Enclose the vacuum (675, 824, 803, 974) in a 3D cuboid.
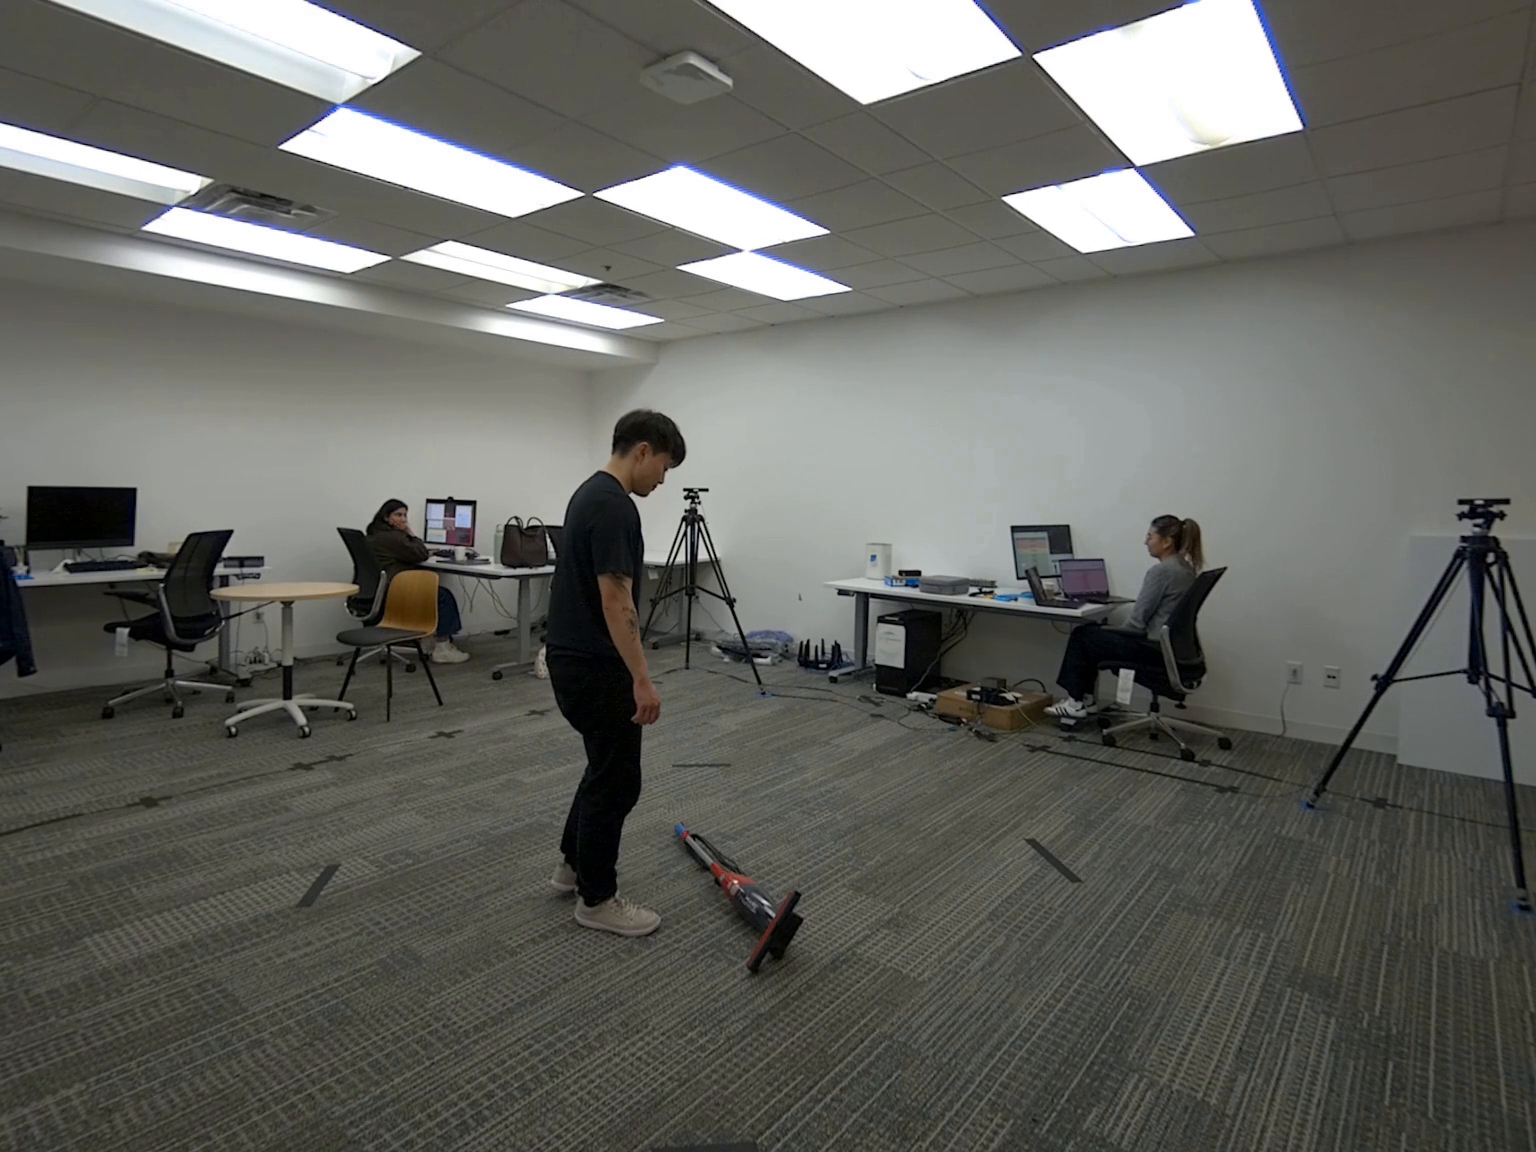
[{"bbox_3d":[-0.166,1.033,2.979,0.141,0.253,1.070,39,-13,-17],"label":"vacuum"}]
